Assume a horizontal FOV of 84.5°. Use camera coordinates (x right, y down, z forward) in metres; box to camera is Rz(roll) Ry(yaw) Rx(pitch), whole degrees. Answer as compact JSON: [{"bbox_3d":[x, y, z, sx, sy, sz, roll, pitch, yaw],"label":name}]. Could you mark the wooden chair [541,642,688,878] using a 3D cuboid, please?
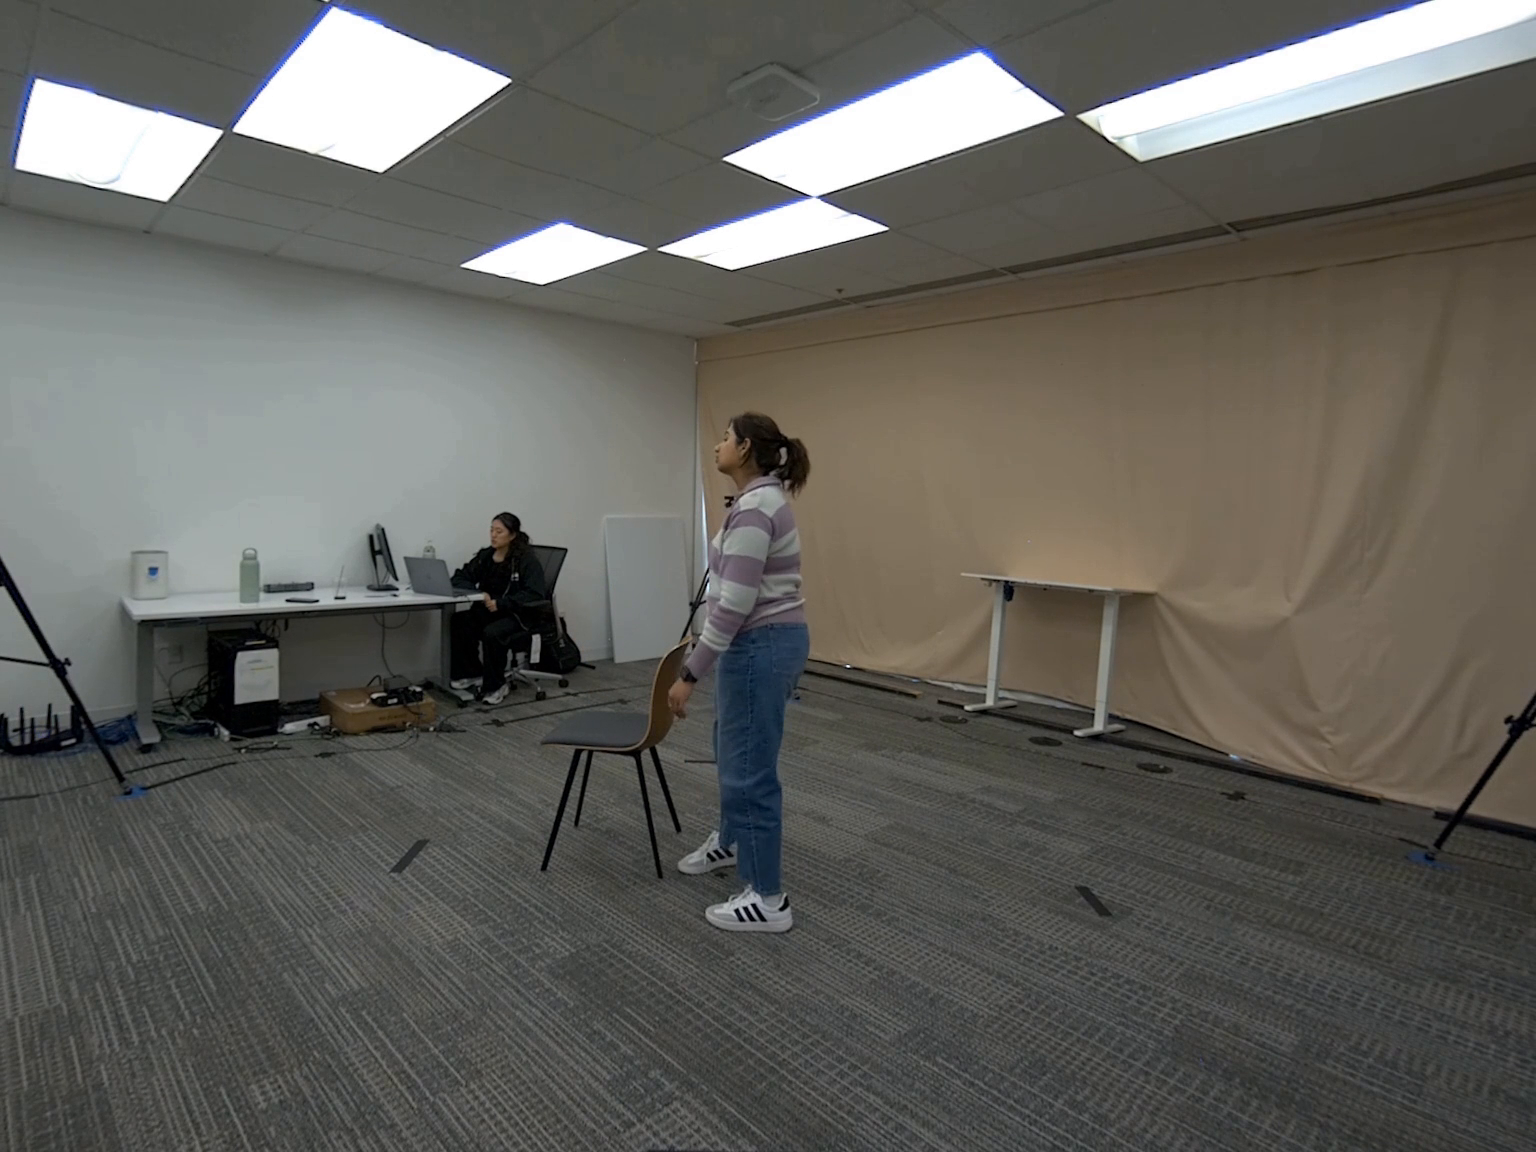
[{"bbox_3d":[-0.600,0.654,3.266,0.525,0.874,0.478,5,5,3],"label":"wooden chair"}]
